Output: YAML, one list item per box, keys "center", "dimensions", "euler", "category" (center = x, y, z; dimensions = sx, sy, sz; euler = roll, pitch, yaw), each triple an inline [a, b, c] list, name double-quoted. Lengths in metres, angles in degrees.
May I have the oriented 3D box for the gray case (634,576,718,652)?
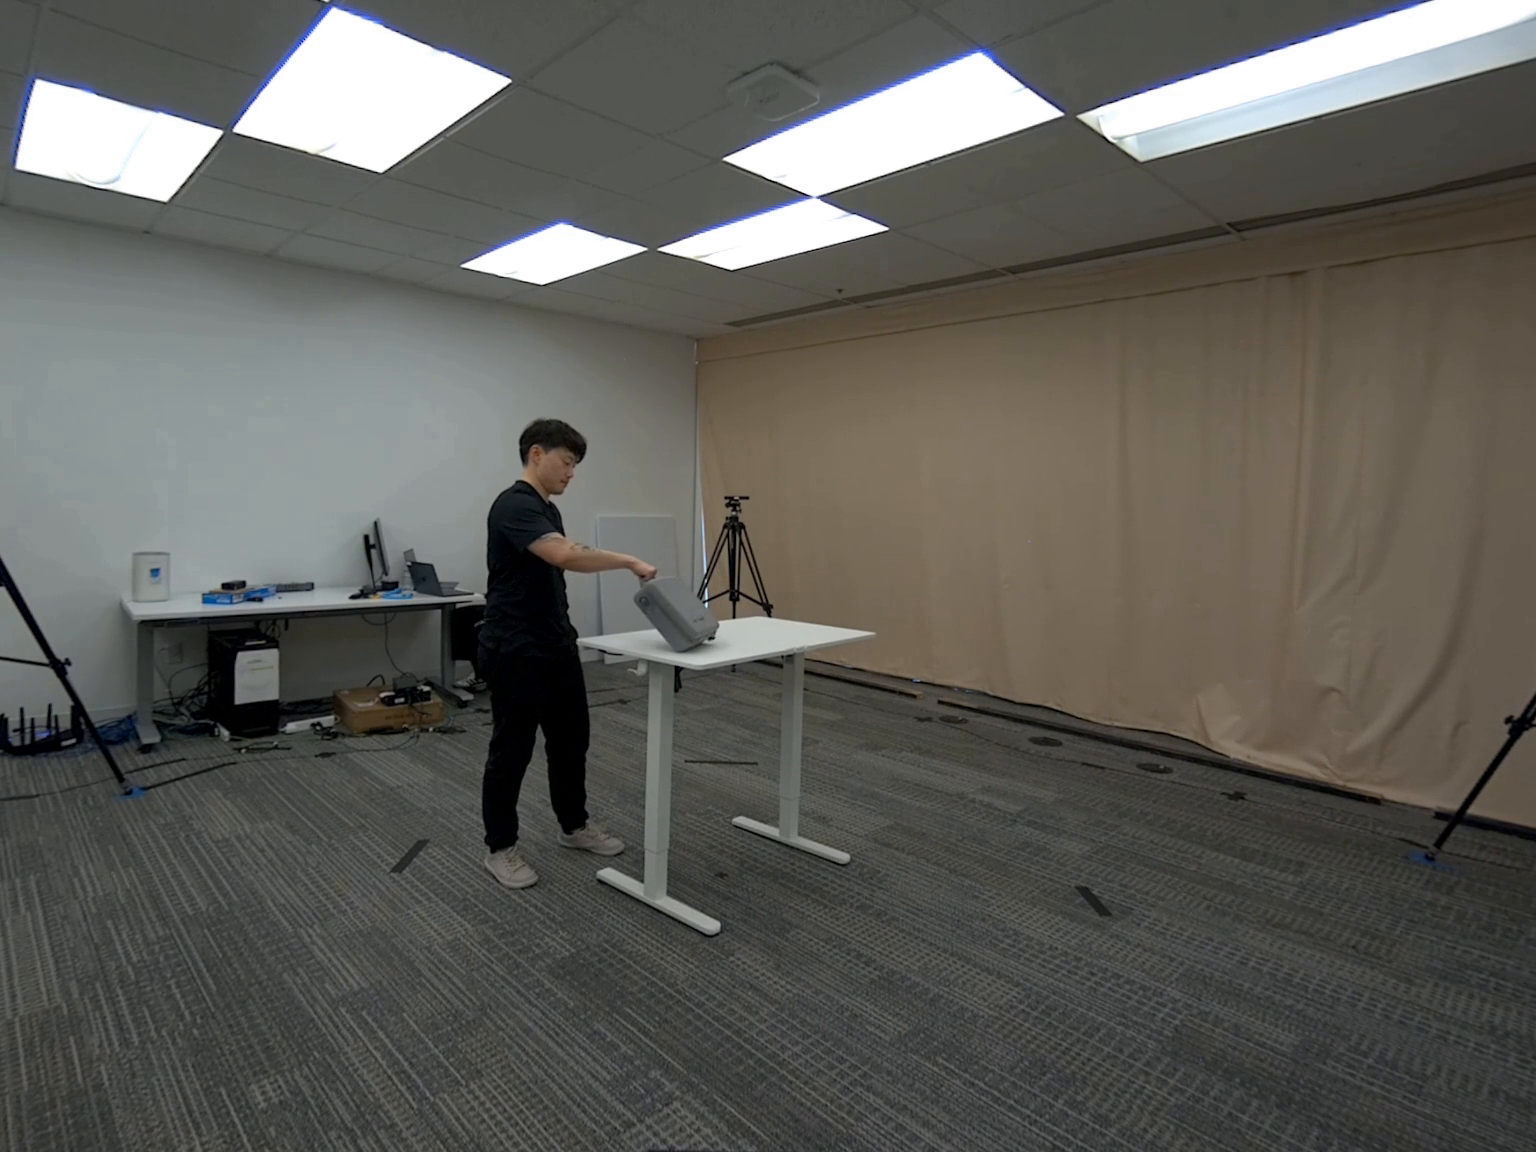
- center: [-0.304, 0.125, 2.828]
  dimensions: [0.104, 0.263, 0.255]
  euler: [-42, -6, 14]
  category: "gray case"
